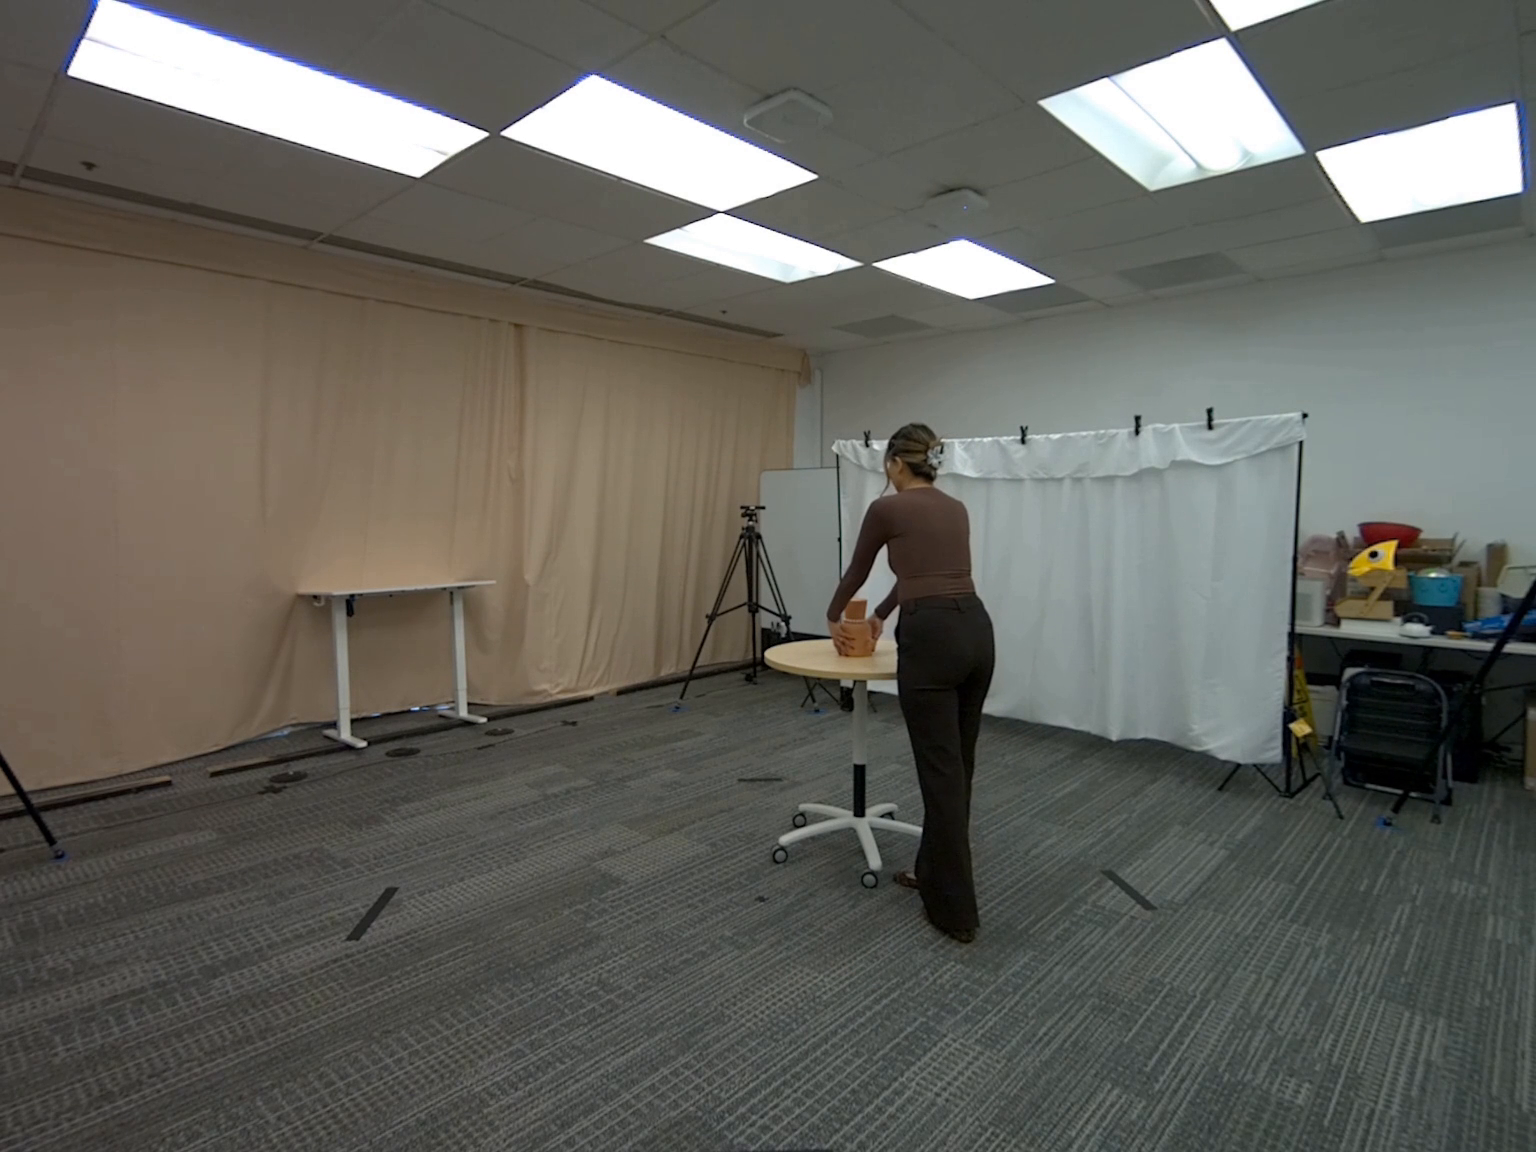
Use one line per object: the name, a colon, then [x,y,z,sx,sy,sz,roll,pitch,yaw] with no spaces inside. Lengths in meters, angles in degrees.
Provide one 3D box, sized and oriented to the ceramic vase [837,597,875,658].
ceramic vase: [0.353,0.203,3.366,0.160,0.219,0.134,0,3,8]
